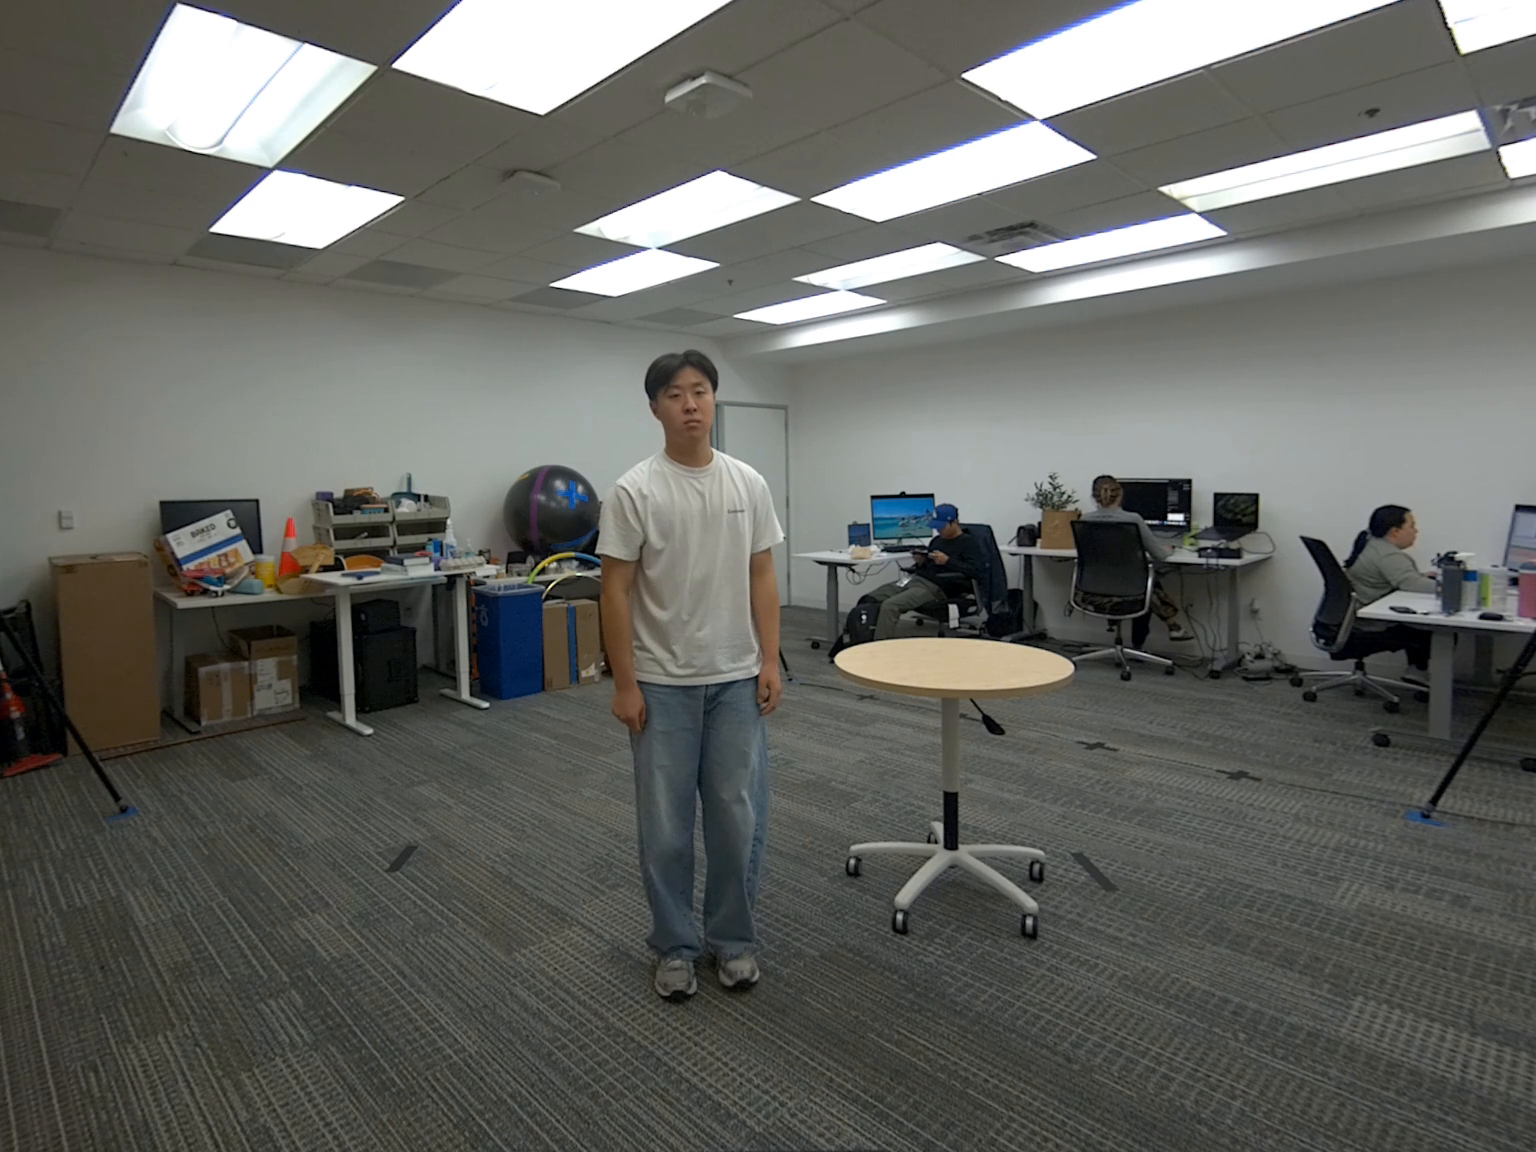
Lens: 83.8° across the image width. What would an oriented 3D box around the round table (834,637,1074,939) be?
[{"bbox_3d":[0.610,0.675,2.862,0.763,0.791,0.768,-1,5,-2],"label":"round table"}]
